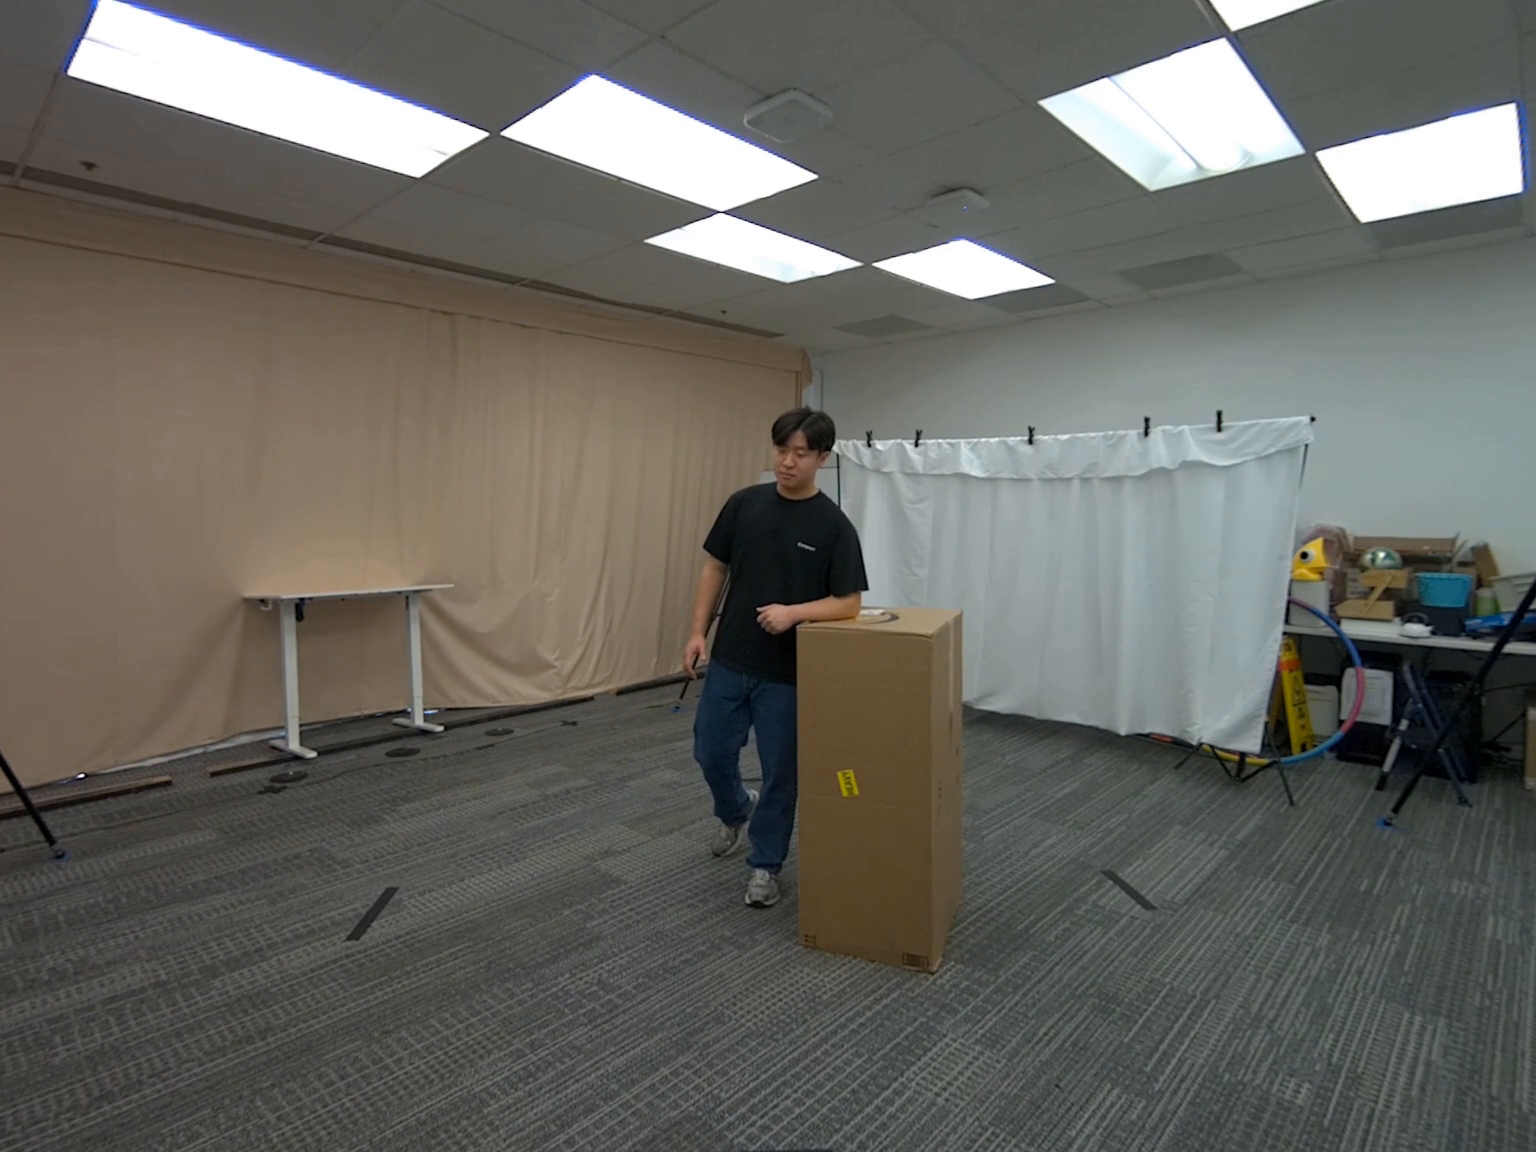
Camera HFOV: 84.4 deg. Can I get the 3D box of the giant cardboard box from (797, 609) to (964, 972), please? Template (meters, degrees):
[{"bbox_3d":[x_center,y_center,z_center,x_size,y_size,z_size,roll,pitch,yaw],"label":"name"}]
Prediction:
[{"bbox_3d":[0.398,0.644,2.814,0.458,1.025,0.570,0,3,24],"label":"giant cardboard box"}]
